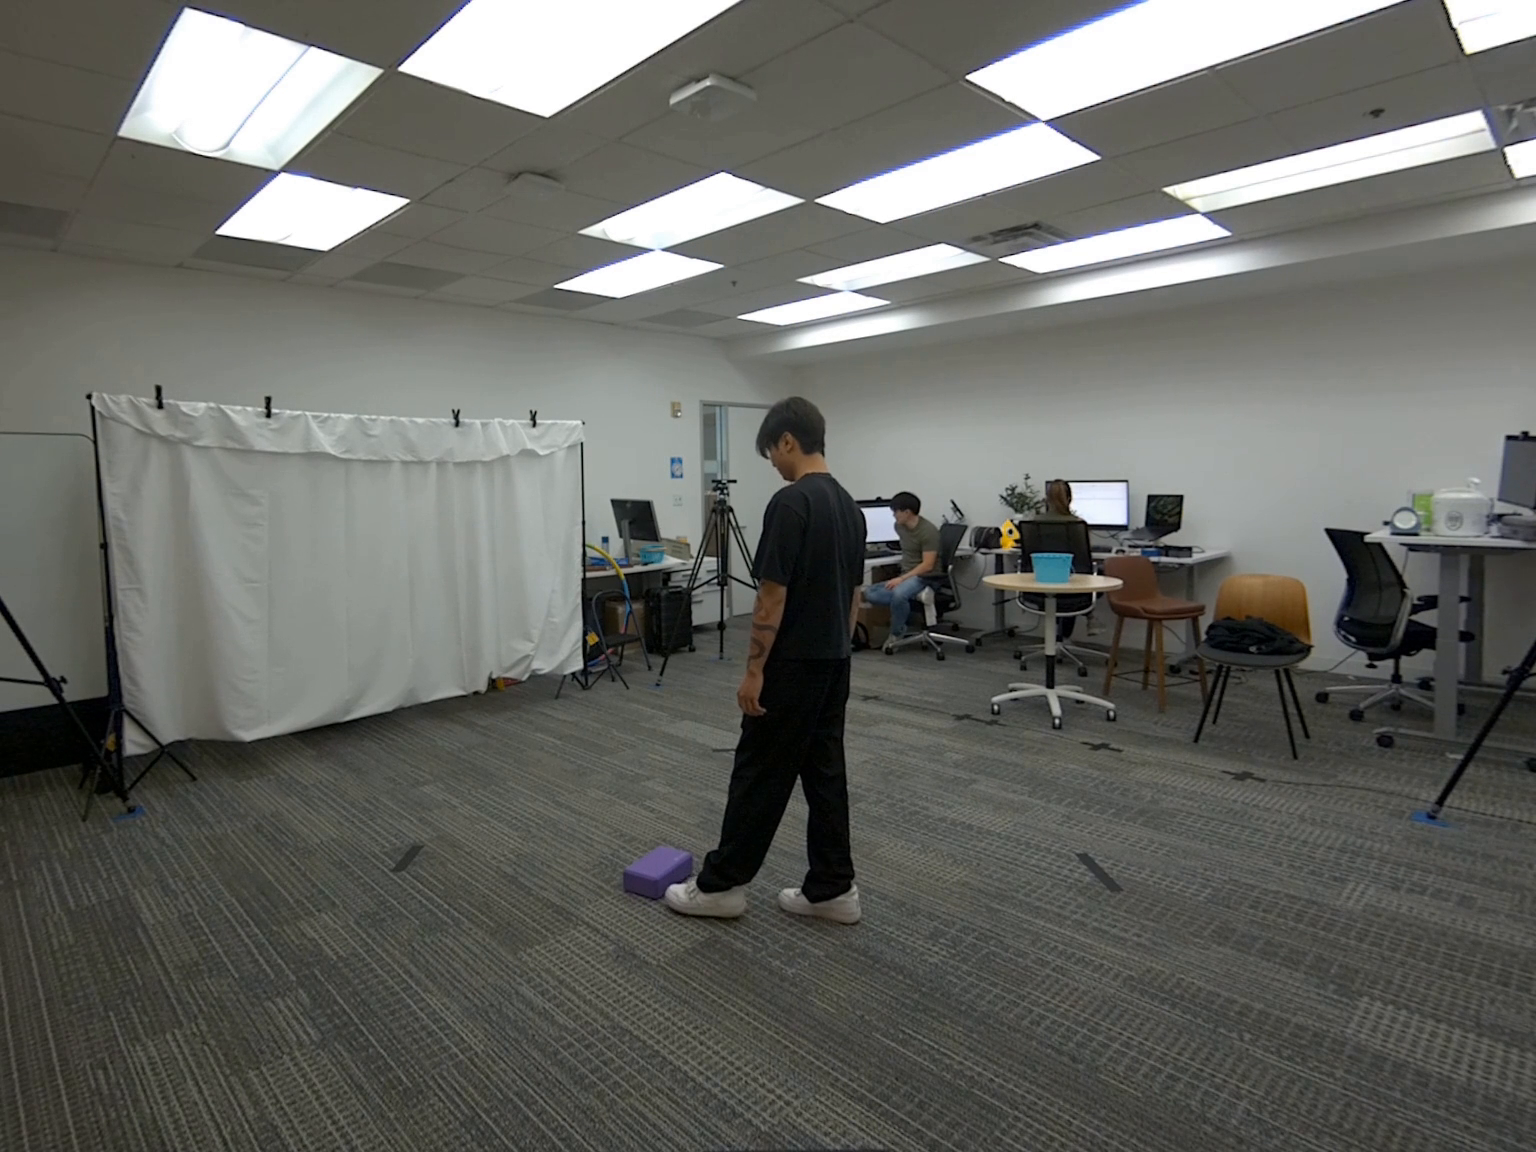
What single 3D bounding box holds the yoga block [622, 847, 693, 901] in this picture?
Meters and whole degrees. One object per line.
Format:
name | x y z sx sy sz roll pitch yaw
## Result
yoga block | -0.377 1.029 2.974 0.153 0.076 0.225 3 8 29
